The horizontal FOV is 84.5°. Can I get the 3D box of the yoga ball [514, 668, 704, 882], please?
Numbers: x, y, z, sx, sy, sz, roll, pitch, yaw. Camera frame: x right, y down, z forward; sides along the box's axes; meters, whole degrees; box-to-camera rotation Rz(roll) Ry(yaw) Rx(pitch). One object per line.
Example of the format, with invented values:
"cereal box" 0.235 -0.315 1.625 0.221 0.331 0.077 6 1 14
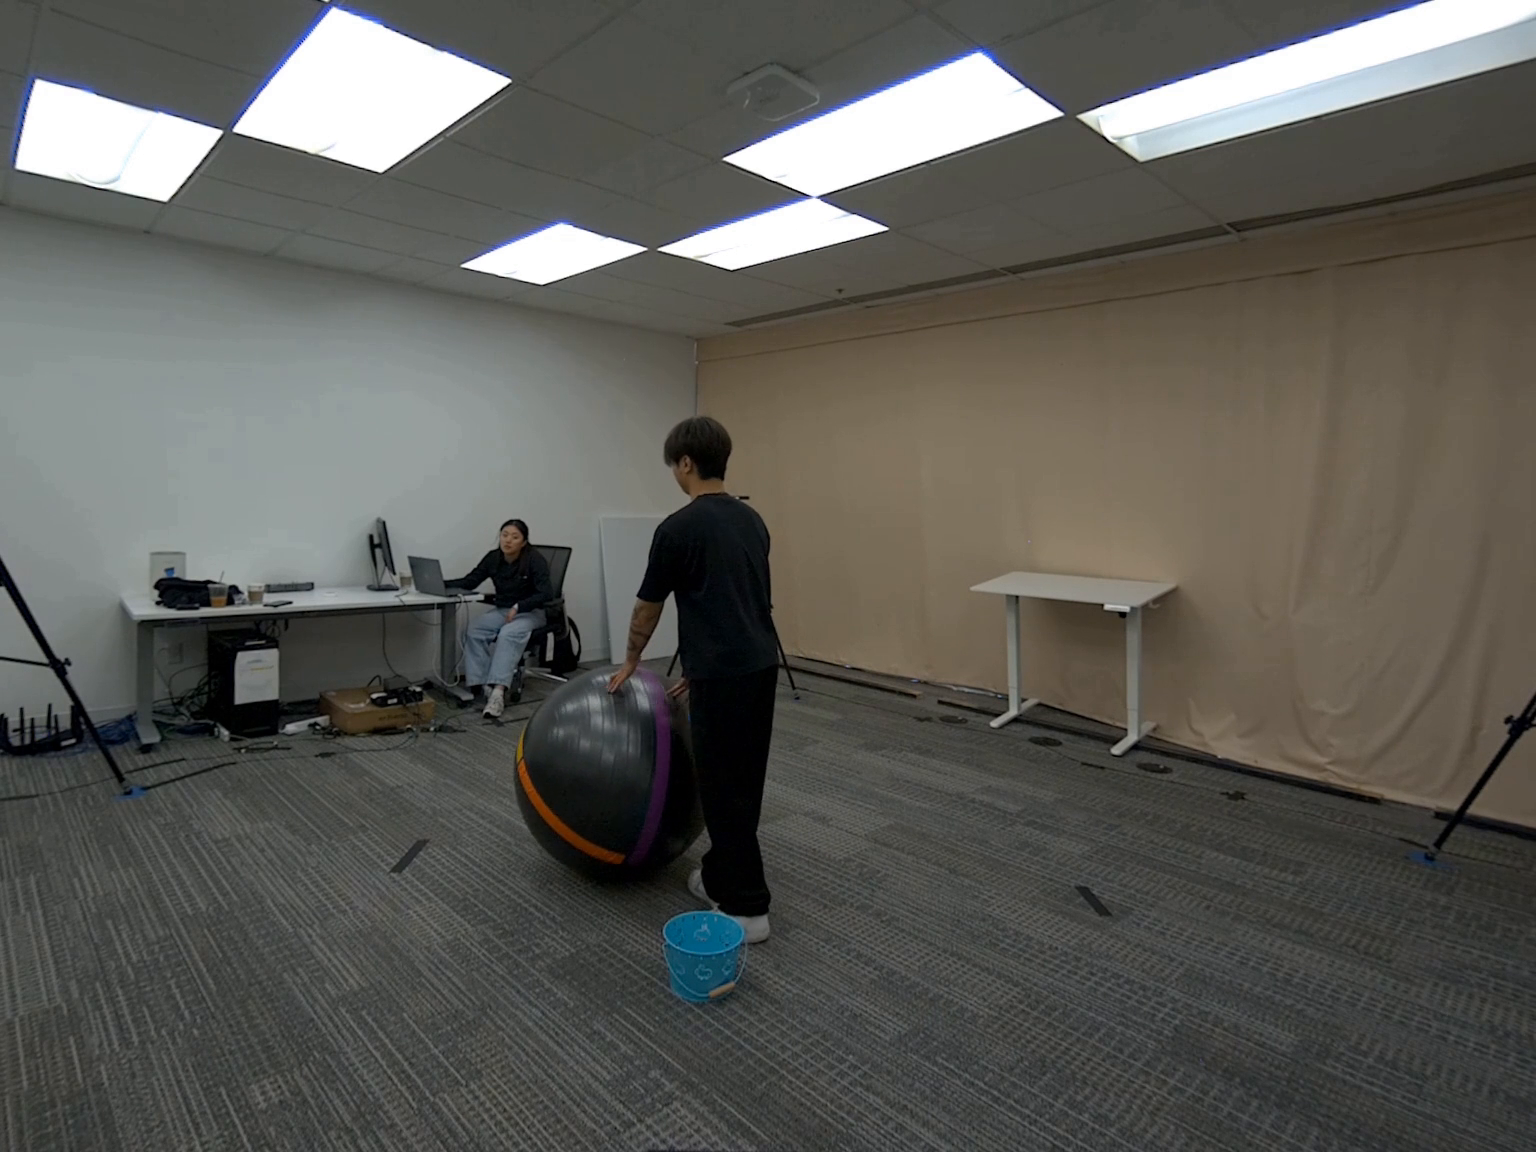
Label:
"yoga ball" -0.559 0.724 3.136 0.757 0.756 0.761 1 4 -1
